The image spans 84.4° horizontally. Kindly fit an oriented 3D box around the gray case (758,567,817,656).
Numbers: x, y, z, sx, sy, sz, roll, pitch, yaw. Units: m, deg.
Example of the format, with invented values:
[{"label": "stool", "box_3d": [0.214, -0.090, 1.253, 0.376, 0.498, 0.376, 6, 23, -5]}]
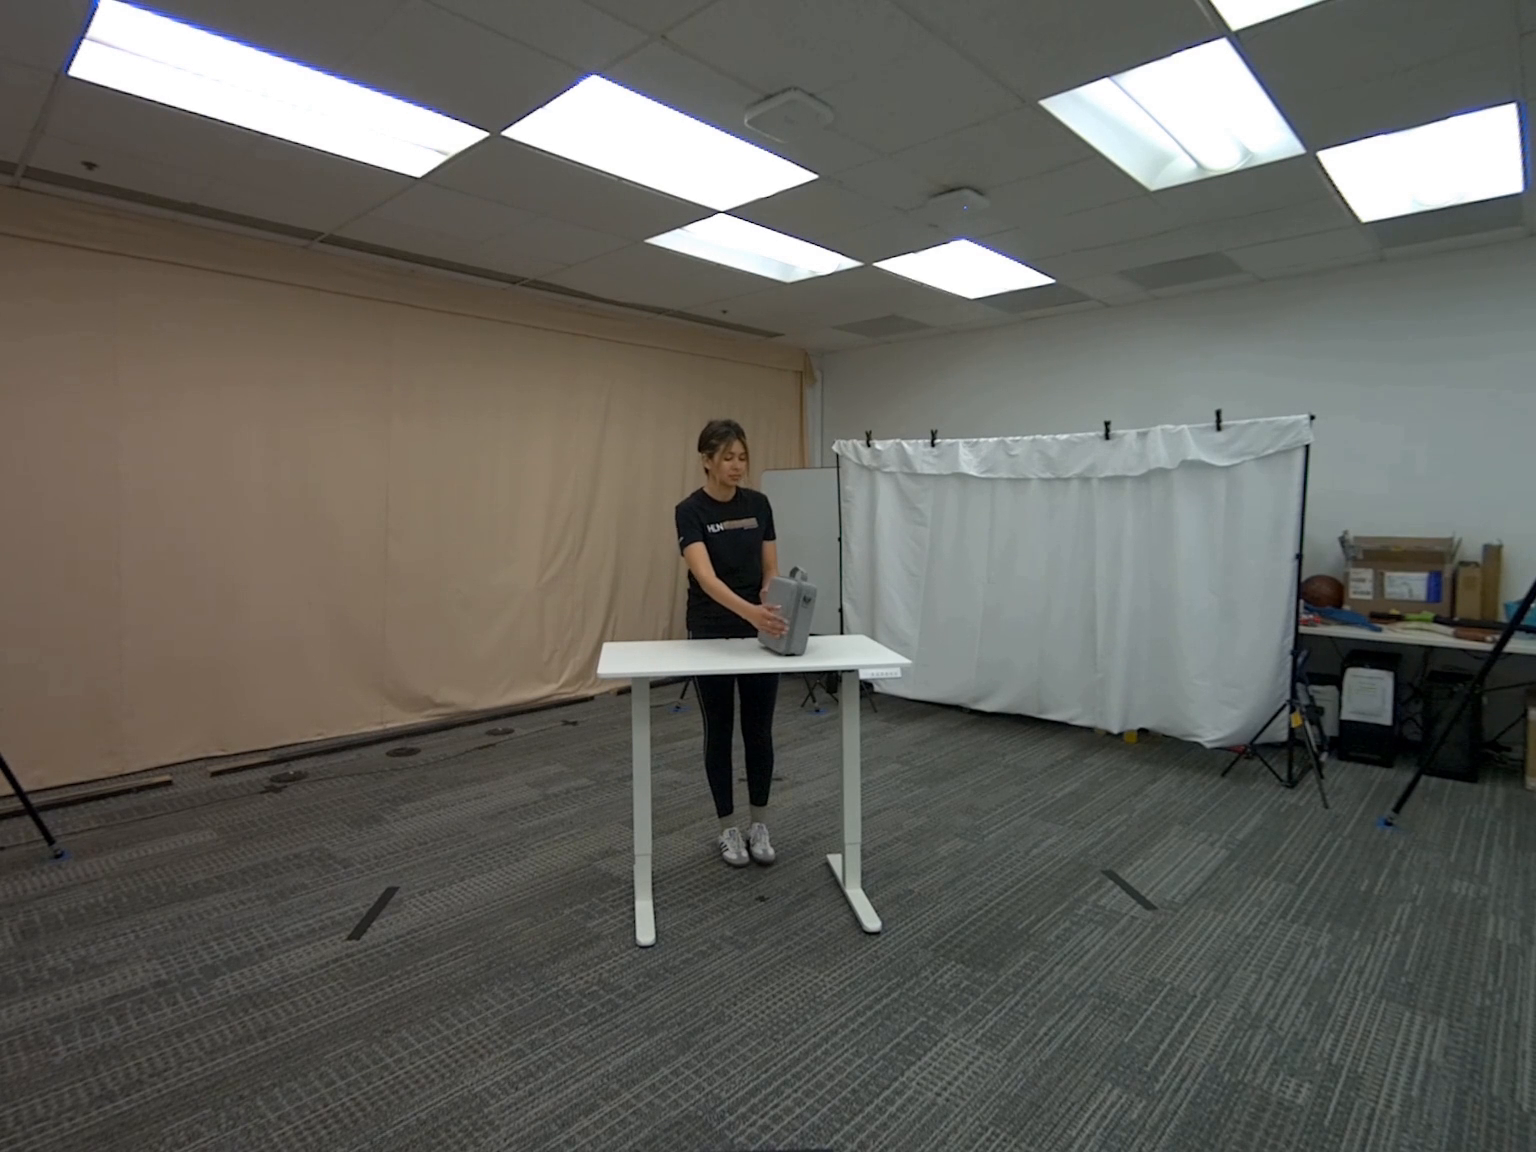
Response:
[{"label": "gray case", "box_3d": [0.070, 0.135, 2.936, 0.102, 0.260, 0.262, 10, 2, -18]}]
